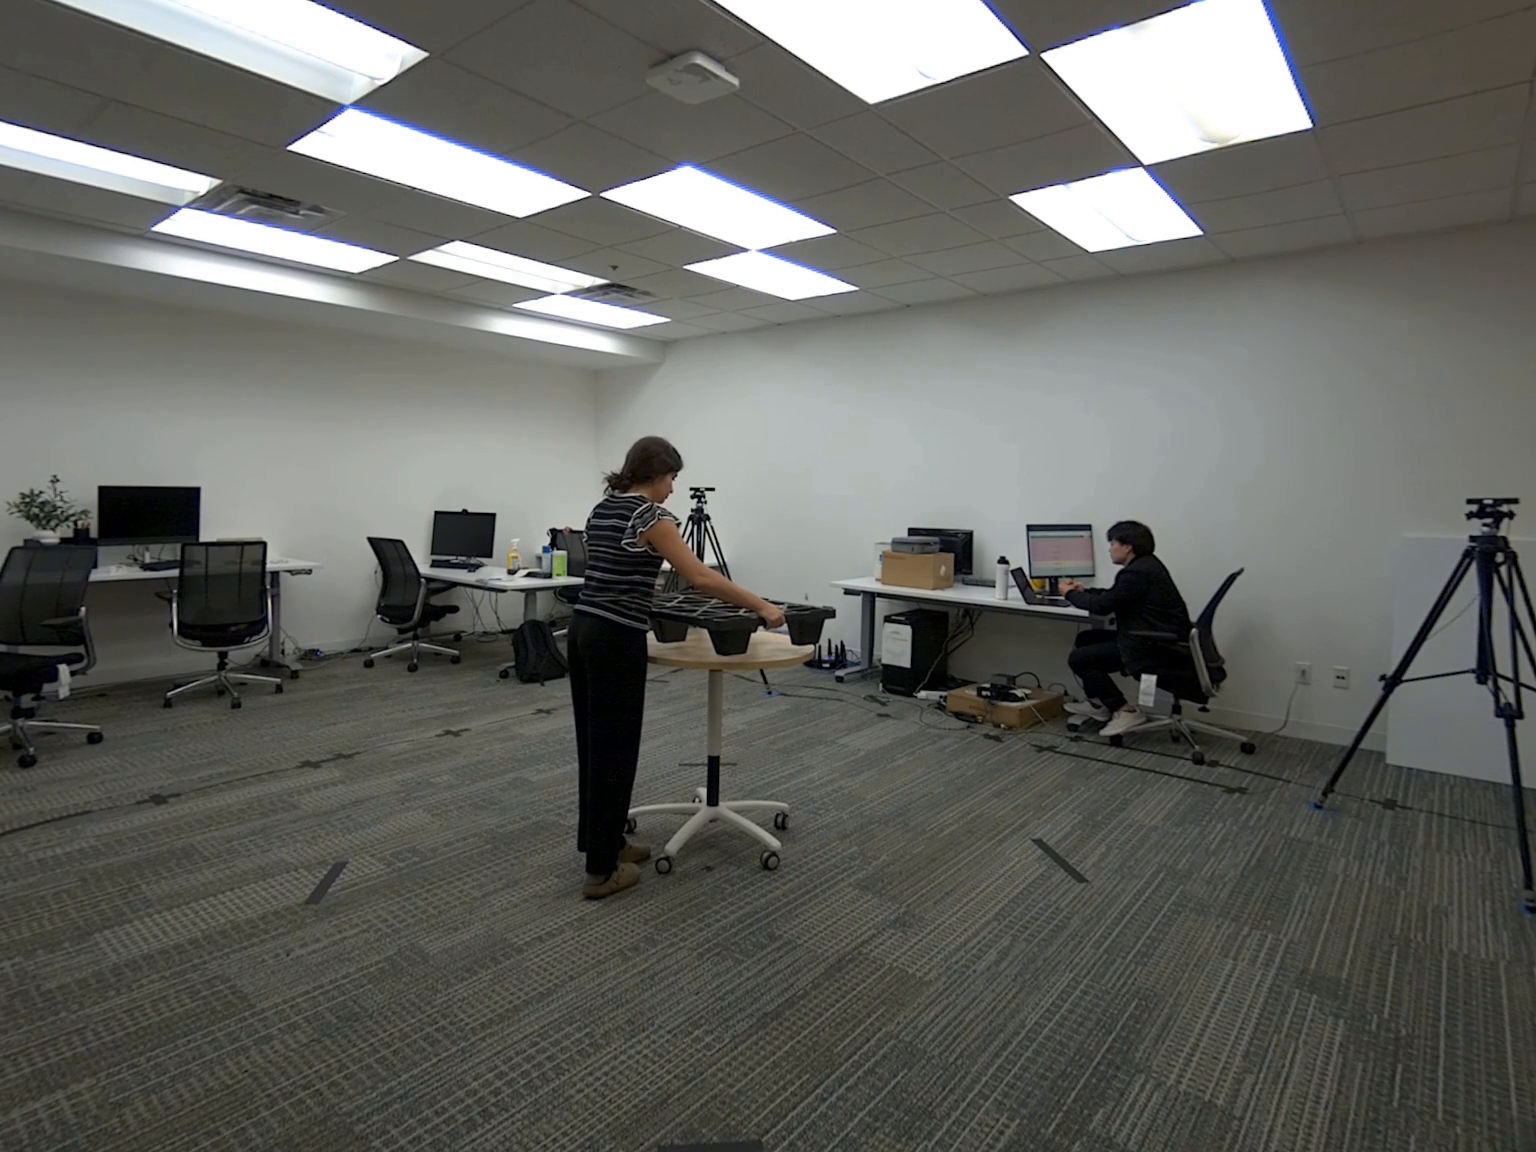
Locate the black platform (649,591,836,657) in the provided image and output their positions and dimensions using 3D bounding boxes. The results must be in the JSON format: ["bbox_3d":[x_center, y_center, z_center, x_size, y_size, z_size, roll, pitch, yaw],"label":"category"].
[{"bbox_3d":[-0.240,0.169,3.316,0.587,0.143,0.833,-3,6,-42],"label":"black platform"}]
